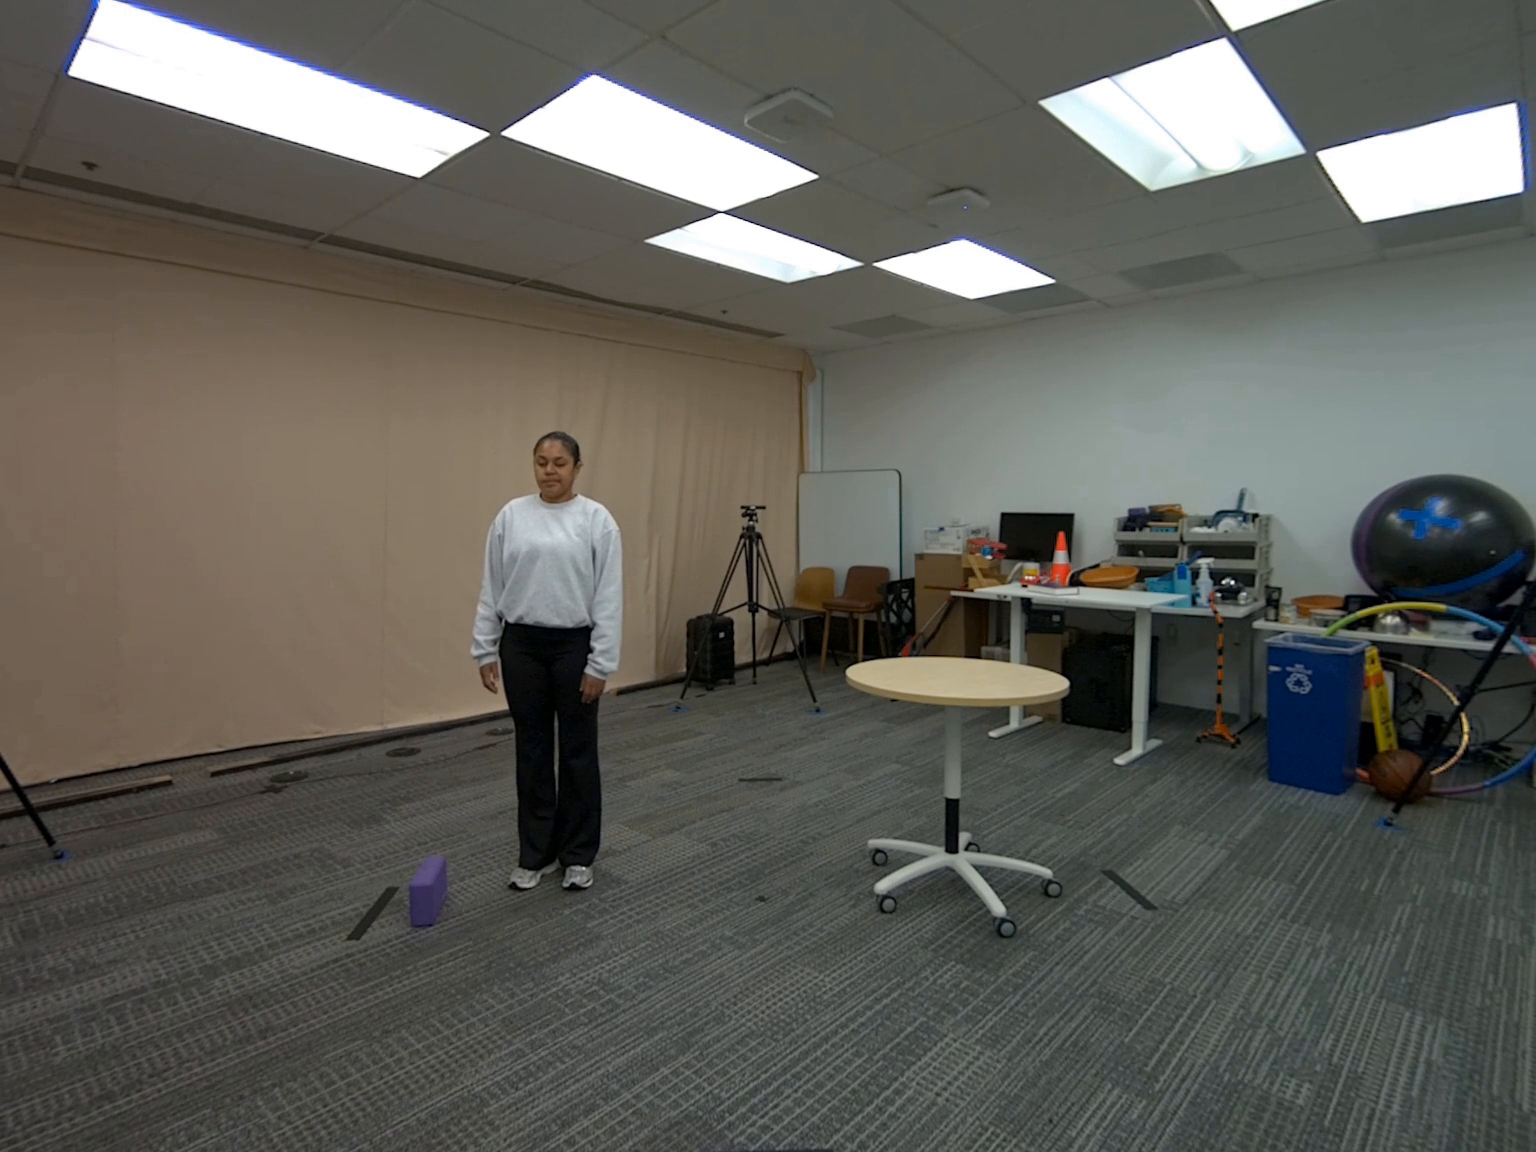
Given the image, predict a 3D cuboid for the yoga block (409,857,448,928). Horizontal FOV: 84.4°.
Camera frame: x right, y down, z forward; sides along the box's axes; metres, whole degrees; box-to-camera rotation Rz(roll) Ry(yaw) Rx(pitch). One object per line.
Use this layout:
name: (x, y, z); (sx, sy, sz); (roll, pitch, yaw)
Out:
yoga block: (-1.176, 1.091, 2.903); (0.076, 0.148, 0.232); (-1, 5, -9)
